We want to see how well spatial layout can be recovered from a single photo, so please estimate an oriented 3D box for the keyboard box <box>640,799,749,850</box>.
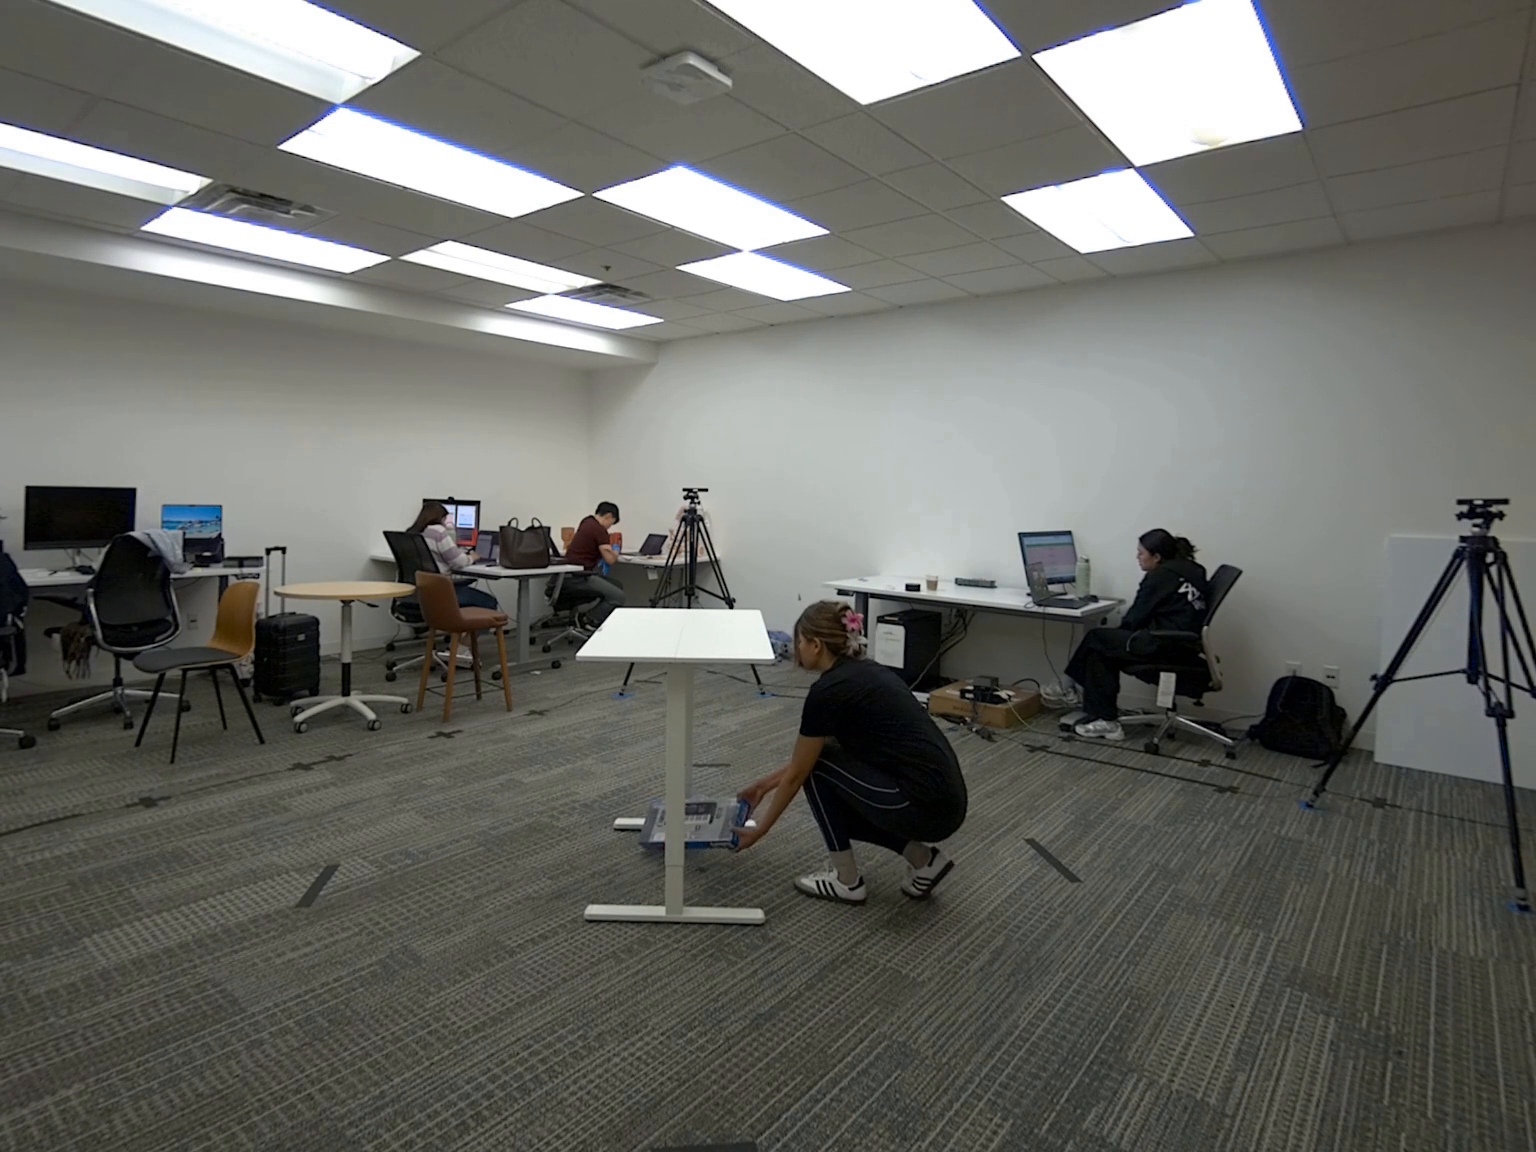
[{"bbox_3d":[-0.294,0.923,3.185,0.446,0.179,0.057,-12,-49,31],"label":"keyboard box"}]
